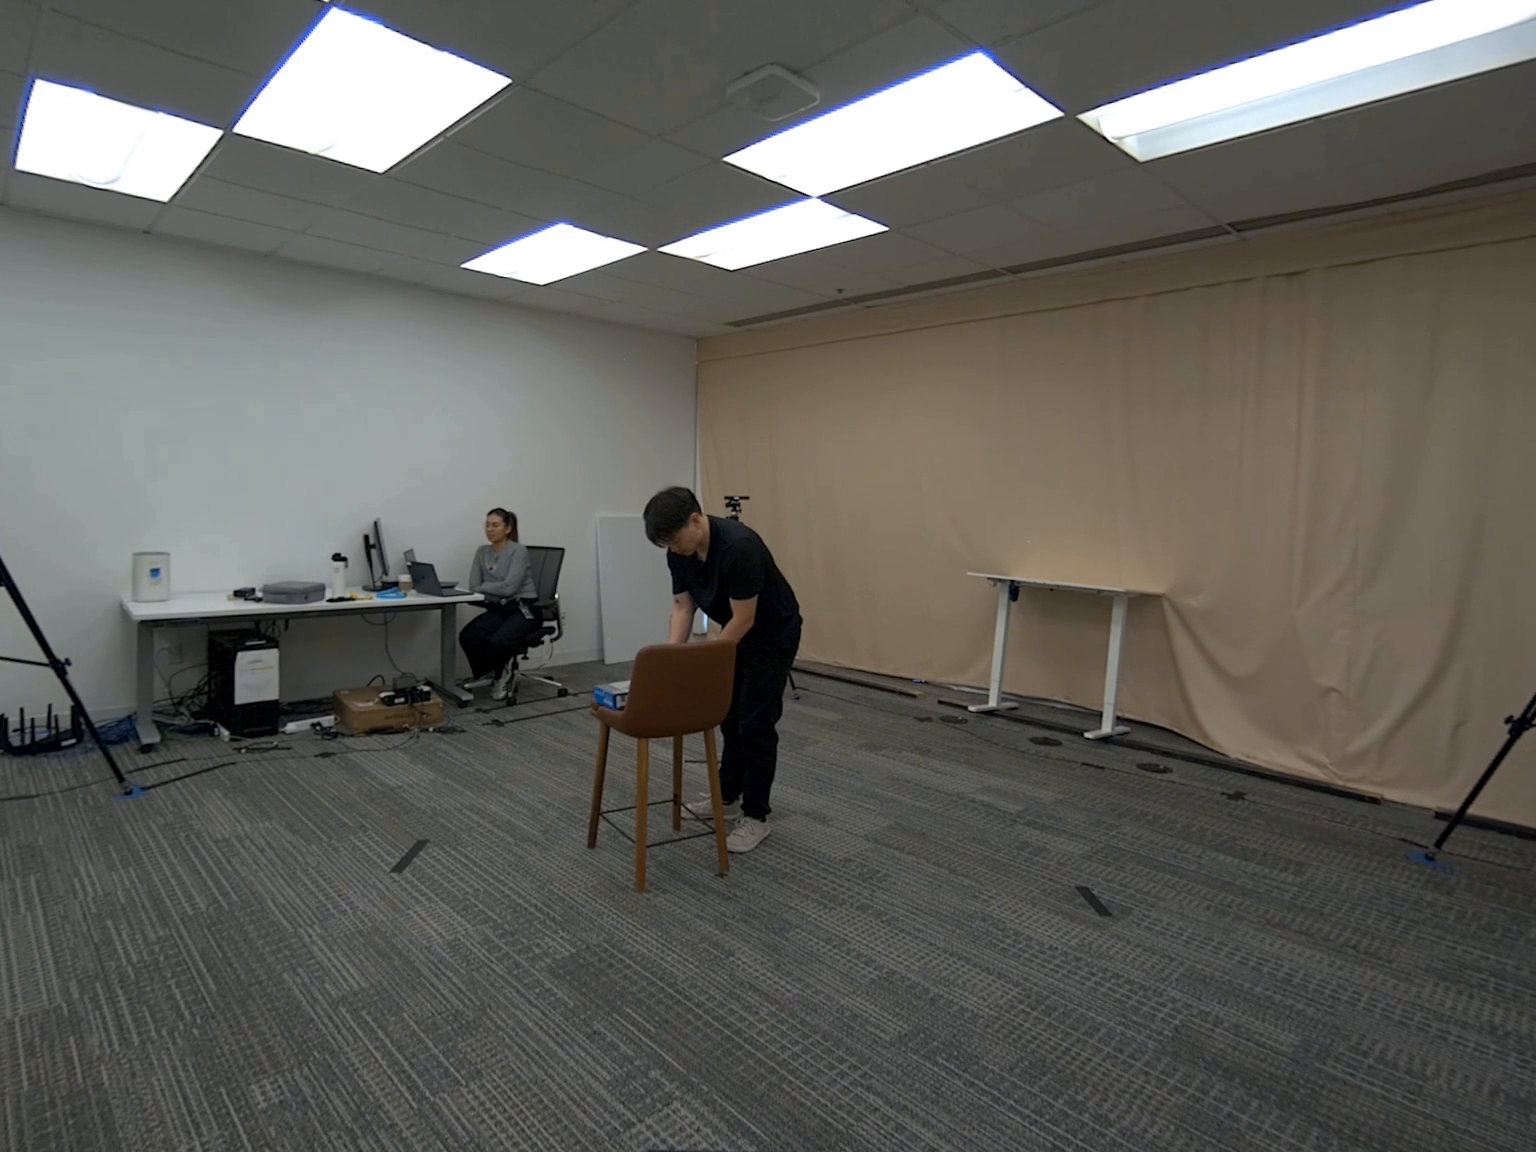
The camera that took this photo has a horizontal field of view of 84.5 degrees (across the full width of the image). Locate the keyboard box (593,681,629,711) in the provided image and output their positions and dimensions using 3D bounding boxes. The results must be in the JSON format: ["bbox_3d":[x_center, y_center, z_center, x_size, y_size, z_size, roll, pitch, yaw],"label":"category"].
[{"bbox_3d":[-0.435,0.436,3.237,0.428,0.059,0.180,-6,8,-32],"label":"keyboard box"}]
